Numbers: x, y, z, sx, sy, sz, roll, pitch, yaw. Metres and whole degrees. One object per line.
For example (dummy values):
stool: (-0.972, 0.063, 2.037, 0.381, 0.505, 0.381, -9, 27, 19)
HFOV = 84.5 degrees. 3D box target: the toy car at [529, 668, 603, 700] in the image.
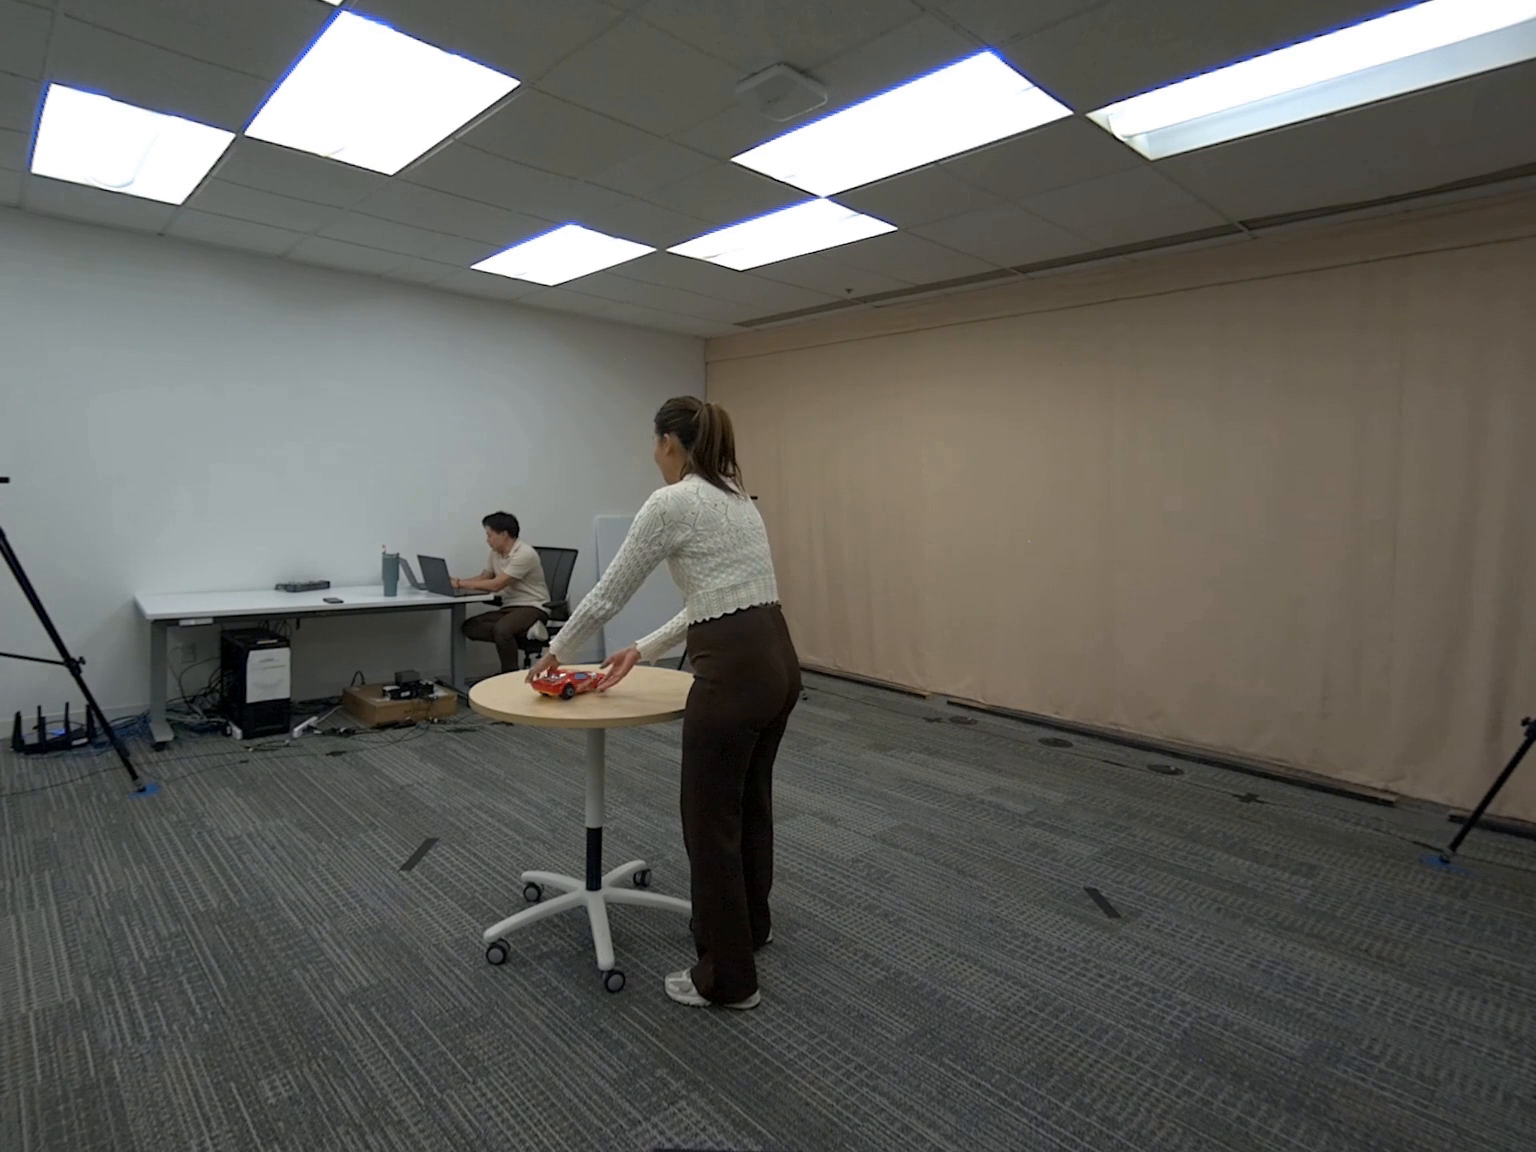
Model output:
toy car: (-0.610, 0.330, 2.541, 0.133, 0.083, 0.248, 4, -6, 33)
